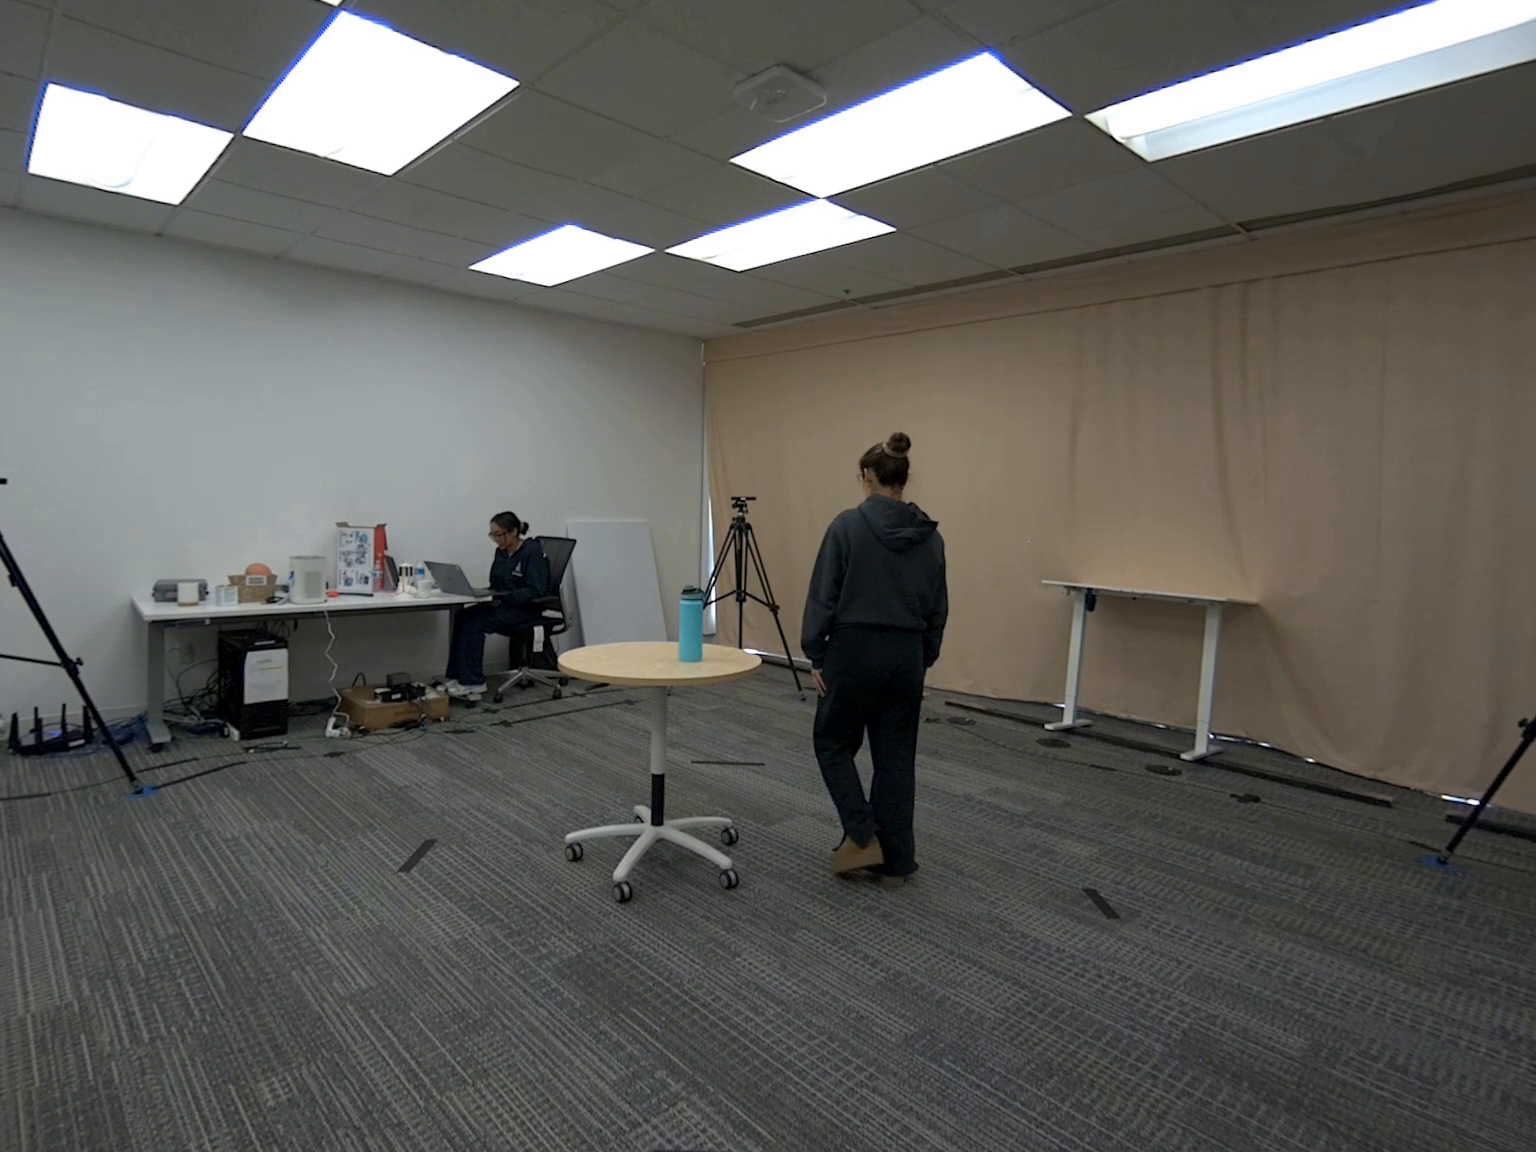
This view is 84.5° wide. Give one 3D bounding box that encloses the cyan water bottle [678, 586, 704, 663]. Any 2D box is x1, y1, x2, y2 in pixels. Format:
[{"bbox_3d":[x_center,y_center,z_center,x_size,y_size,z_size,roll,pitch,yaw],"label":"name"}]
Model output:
[{"bbox_3d":[-0.292,0.175,3.158,0.092,0.283,0.092,3,3,-2],"label":"cyan water bottle"}]
